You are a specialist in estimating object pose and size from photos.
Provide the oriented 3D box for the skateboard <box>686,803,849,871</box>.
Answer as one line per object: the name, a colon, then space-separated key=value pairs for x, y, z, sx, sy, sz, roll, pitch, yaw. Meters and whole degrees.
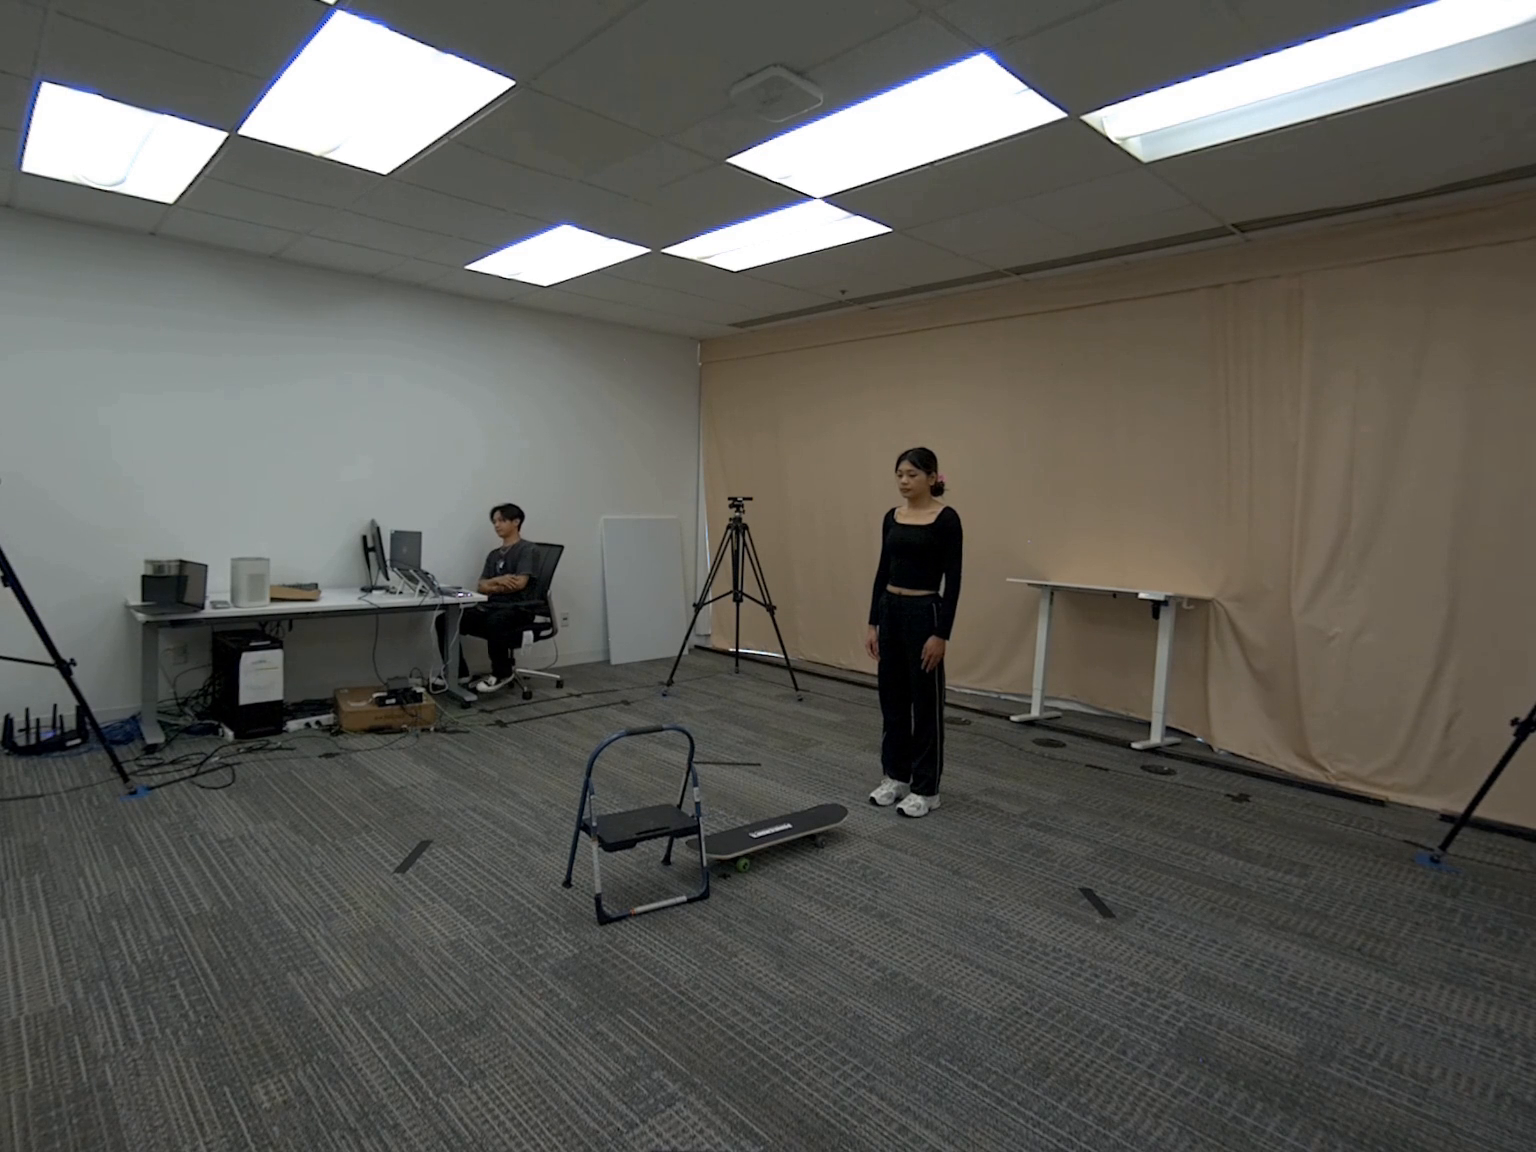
skateboard: x=0.004 y=1.035 z=3.327 sx=0.768 sy=0.110 sz=0.198 roll=-3 pitch=7 yaw=-38
